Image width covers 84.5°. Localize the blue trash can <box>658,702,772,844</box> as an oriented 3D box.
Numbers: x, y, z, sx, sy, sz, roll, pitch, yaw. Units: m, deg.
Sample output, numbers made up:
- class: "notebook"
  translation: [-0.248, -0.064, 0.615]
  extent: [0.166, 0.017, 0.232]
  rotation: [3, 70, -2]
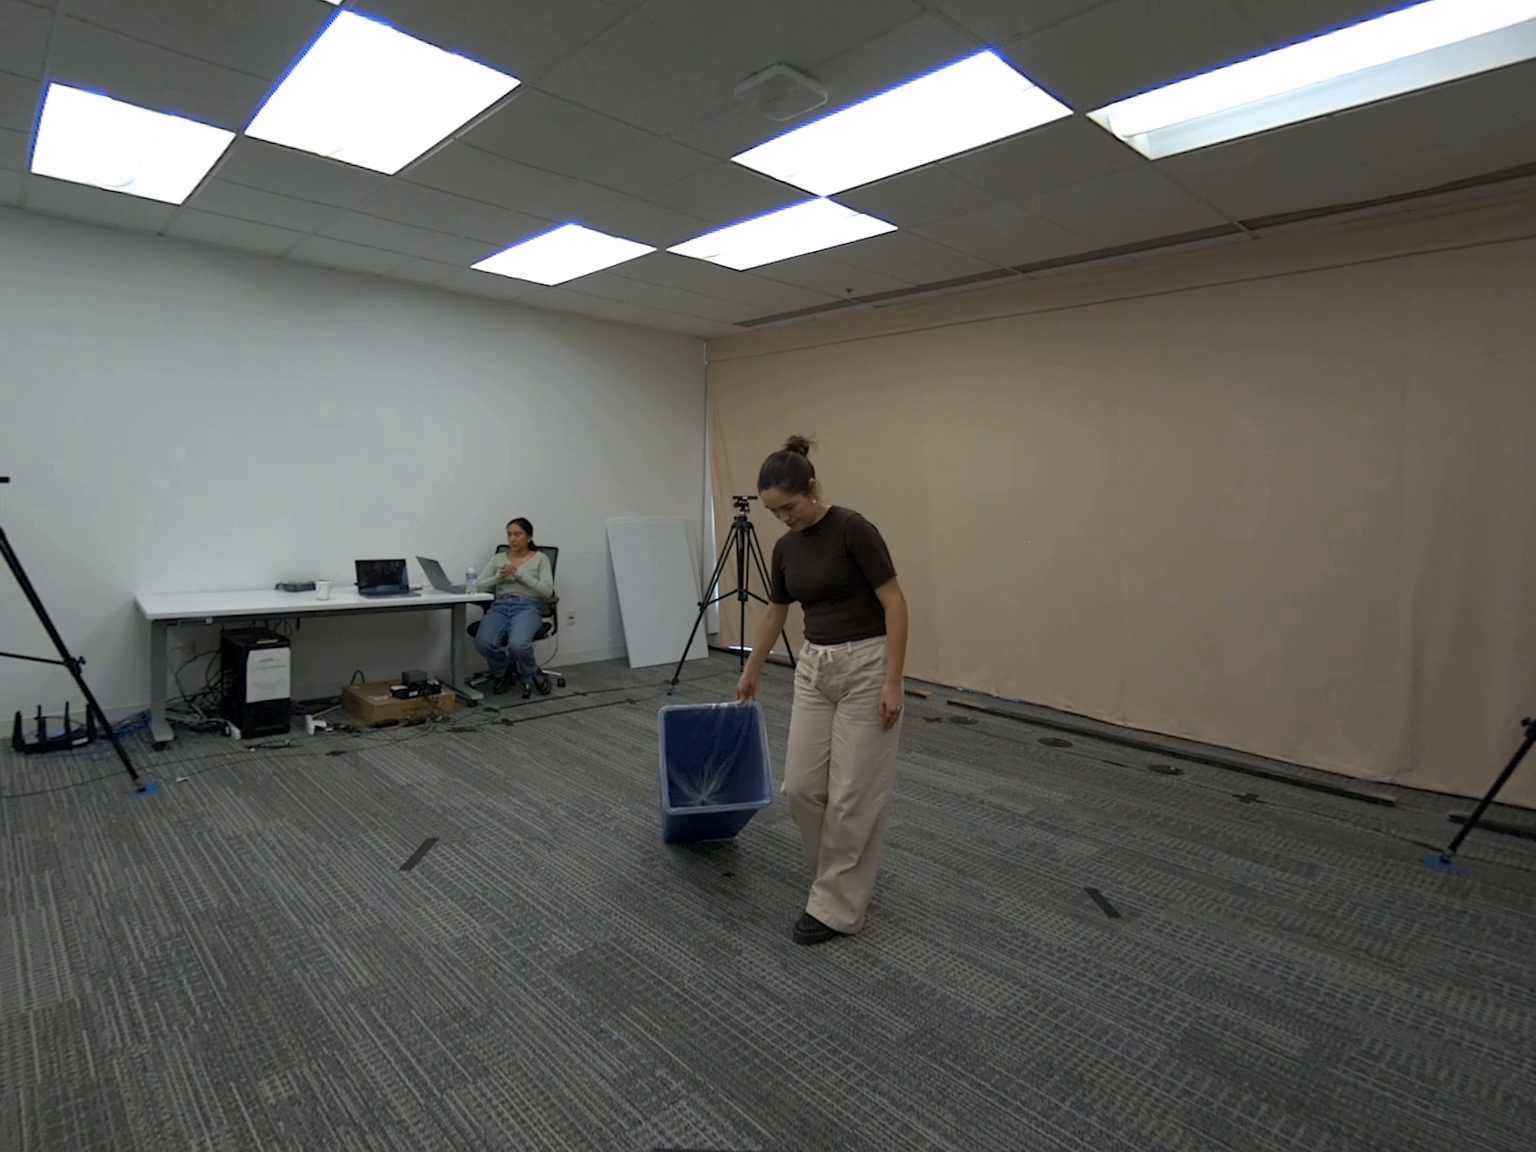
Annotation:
- class: "blue trash can"
  translation: [-0.240, 0.778, 3.170]
  extent: [0.375, 0.382, 0.704]
  rotation: [-2, -29, -11]
